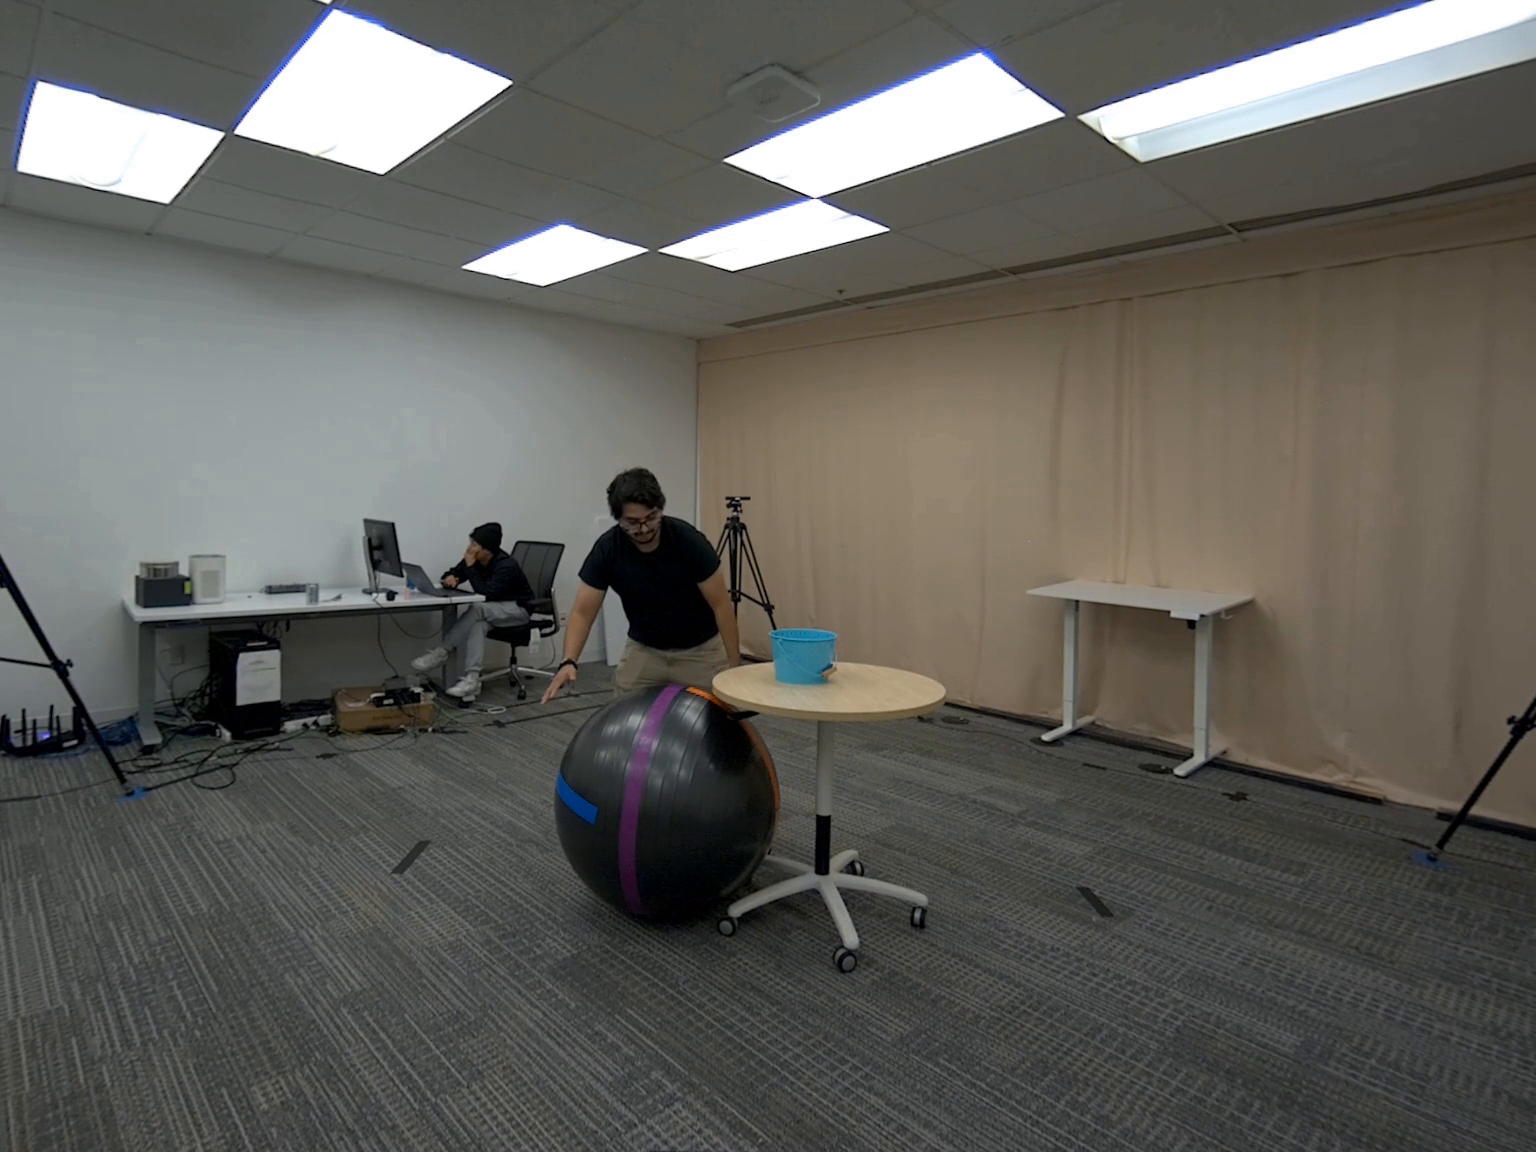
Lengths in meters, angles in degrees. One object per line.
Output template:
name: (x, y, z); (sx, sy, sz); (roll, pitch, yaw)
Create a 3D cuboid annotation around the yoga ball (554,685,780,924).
yoga ball: (-0.359, 0.767, 2.852); (0.757, 0.756, 0.761); (1, 4, -1)
